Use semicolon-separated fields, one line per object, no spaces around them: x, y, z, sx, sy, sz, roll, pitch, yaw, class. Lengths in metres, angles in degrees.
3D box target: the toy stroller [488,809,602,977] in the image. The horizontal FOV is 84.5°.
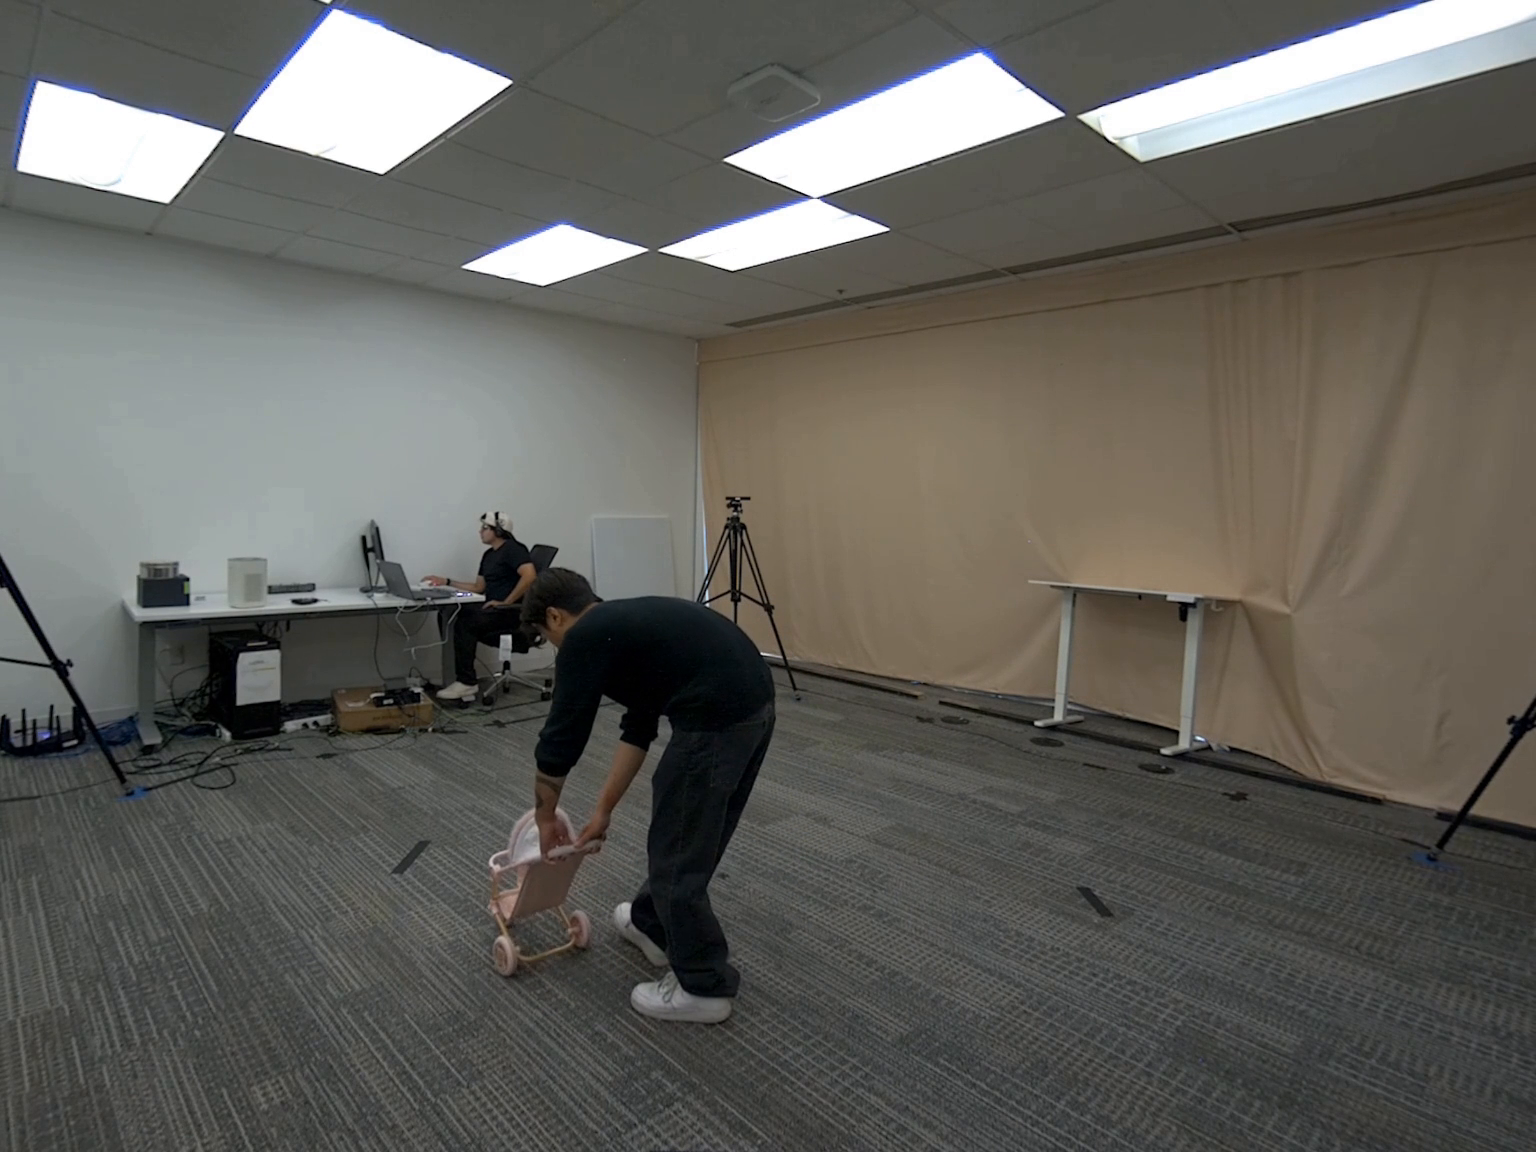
-0.711;0.926;2.553;0.275;0.530;0.352;1;21;-36;toy stroller
